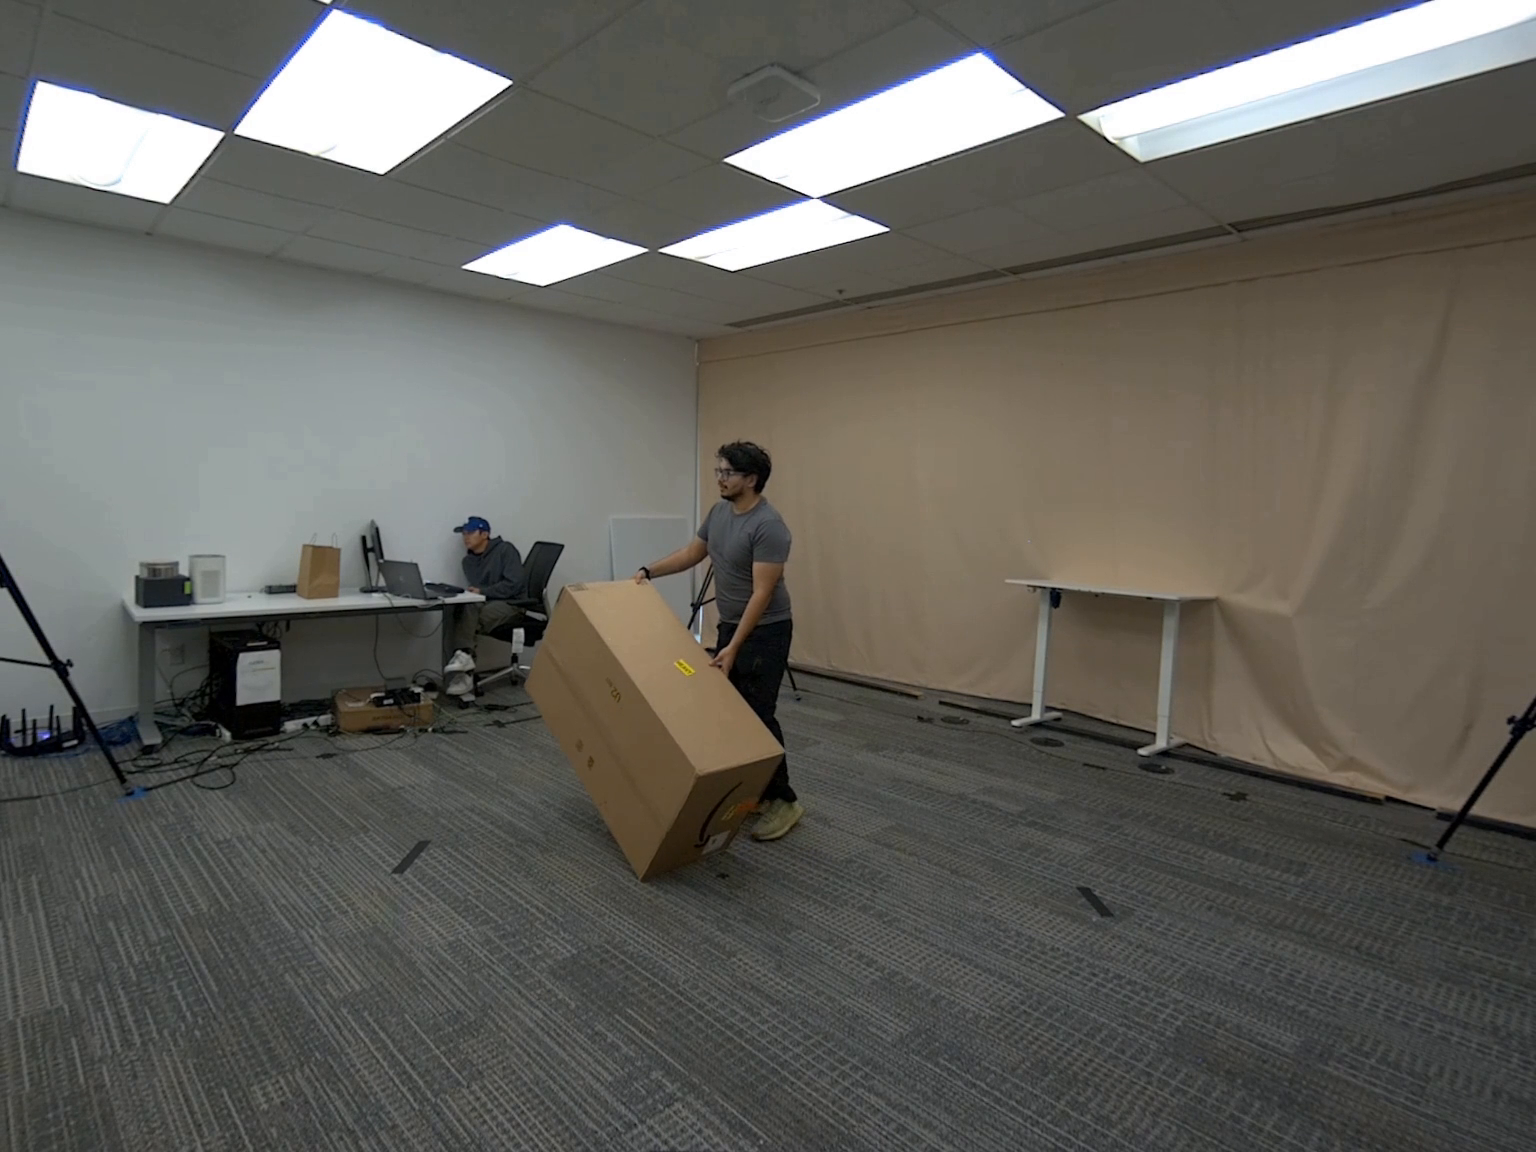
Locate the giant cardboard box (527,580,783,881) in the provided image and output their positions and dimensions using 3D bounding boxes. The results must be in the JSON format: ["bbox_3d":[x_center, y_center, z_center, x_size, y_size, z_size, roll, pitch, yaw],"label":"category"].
[{"bbox_3d":[-0.497,0.565,3.345,0.416,0.573,1.057,-2,38,-44],"label":"giant cardboard box"}]
